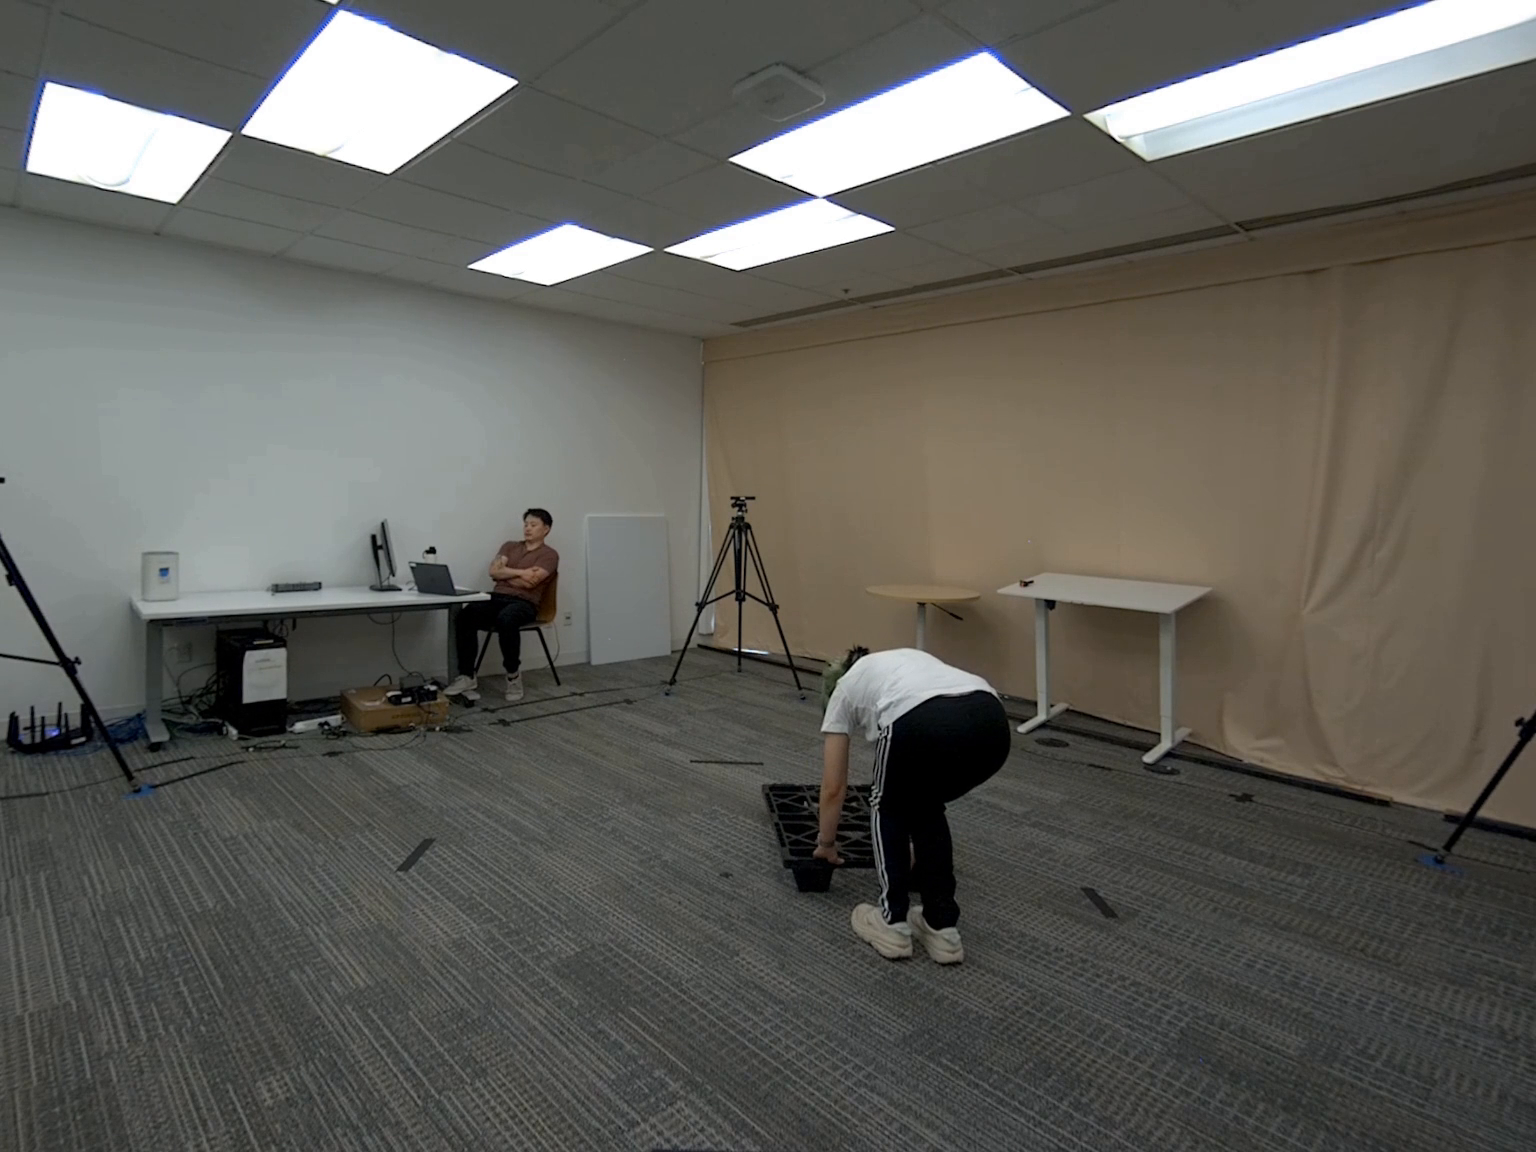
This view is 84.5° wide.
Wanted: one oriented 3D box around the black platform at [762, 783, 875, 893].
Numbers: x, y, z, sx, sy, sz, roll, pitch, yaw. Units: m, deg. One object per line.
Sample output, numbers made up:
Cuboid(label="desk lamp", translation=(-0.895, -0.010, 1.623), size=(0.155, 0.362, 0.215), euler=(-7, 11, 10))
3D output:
Cuboid(label="black platform", translation=(0.301, 1.023, 3.356), size=(0.603, 0.143, 0.811), euler=(1, 5, -5))
